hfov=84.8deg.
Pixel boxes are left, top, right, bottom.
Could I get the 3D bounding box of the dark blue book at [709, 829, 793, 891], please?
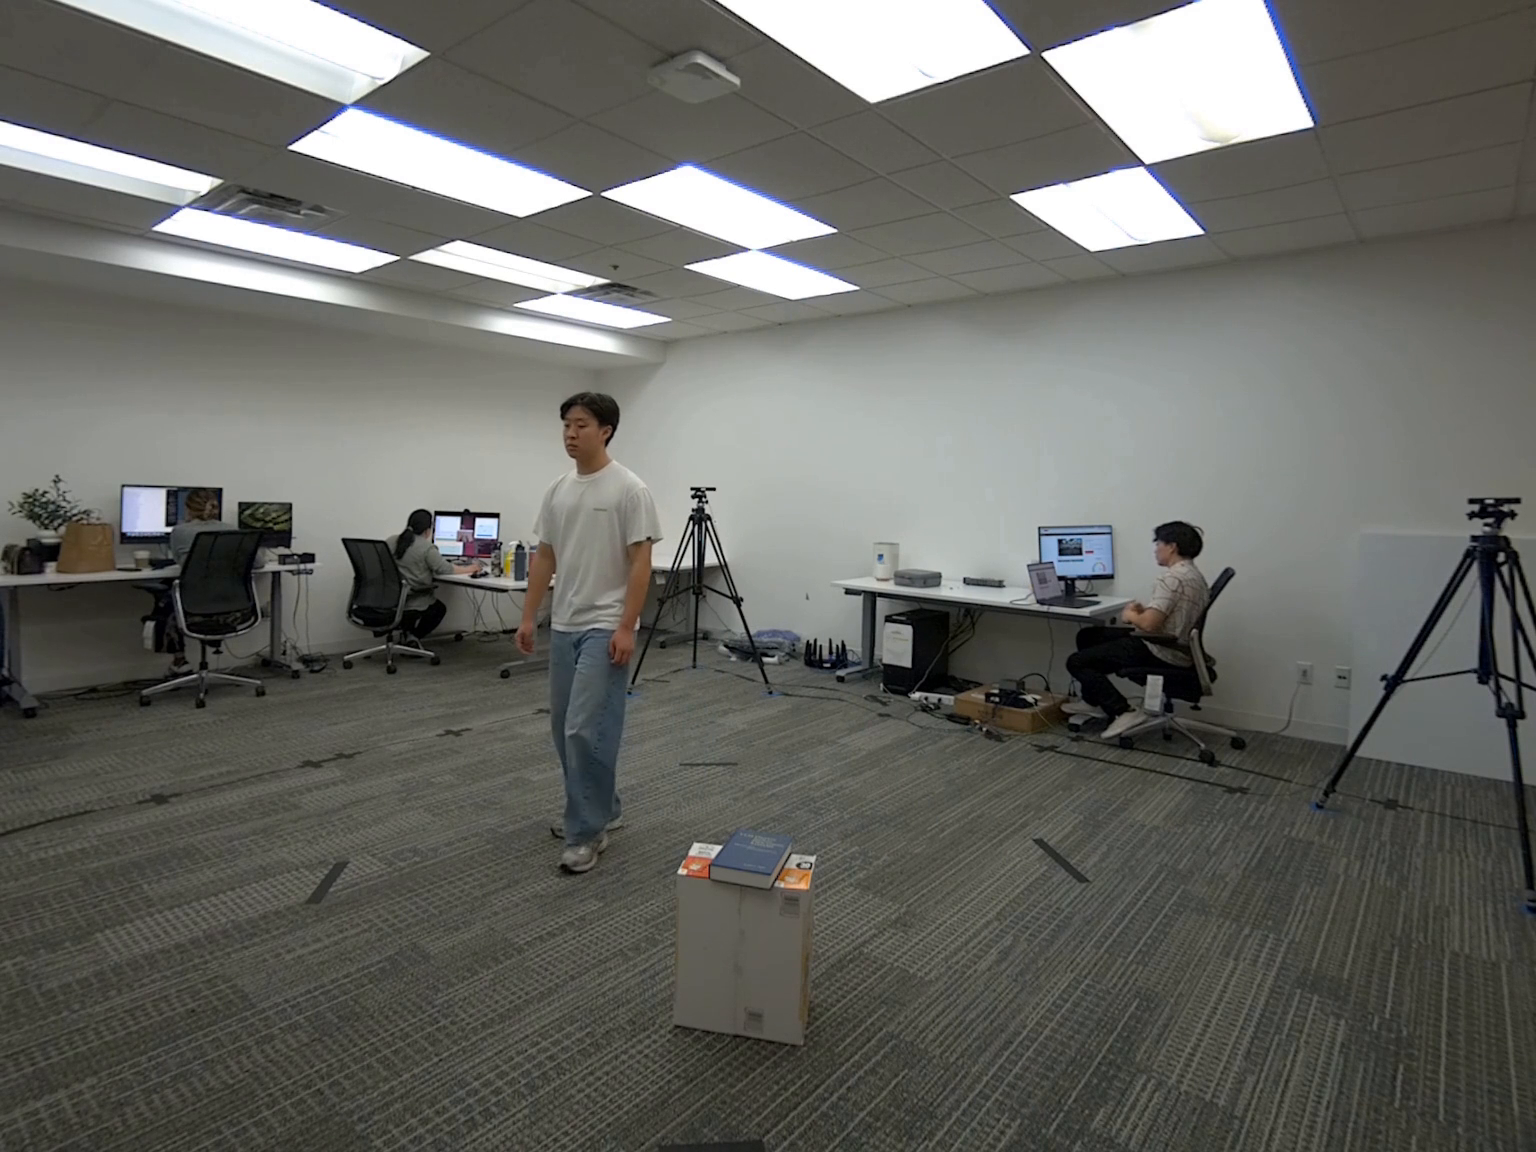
[{"bbox_3d":[-0.048,0.735,2.221,0.166,0.045,0.241,3,6,15],"label":"dark blue book"}]
